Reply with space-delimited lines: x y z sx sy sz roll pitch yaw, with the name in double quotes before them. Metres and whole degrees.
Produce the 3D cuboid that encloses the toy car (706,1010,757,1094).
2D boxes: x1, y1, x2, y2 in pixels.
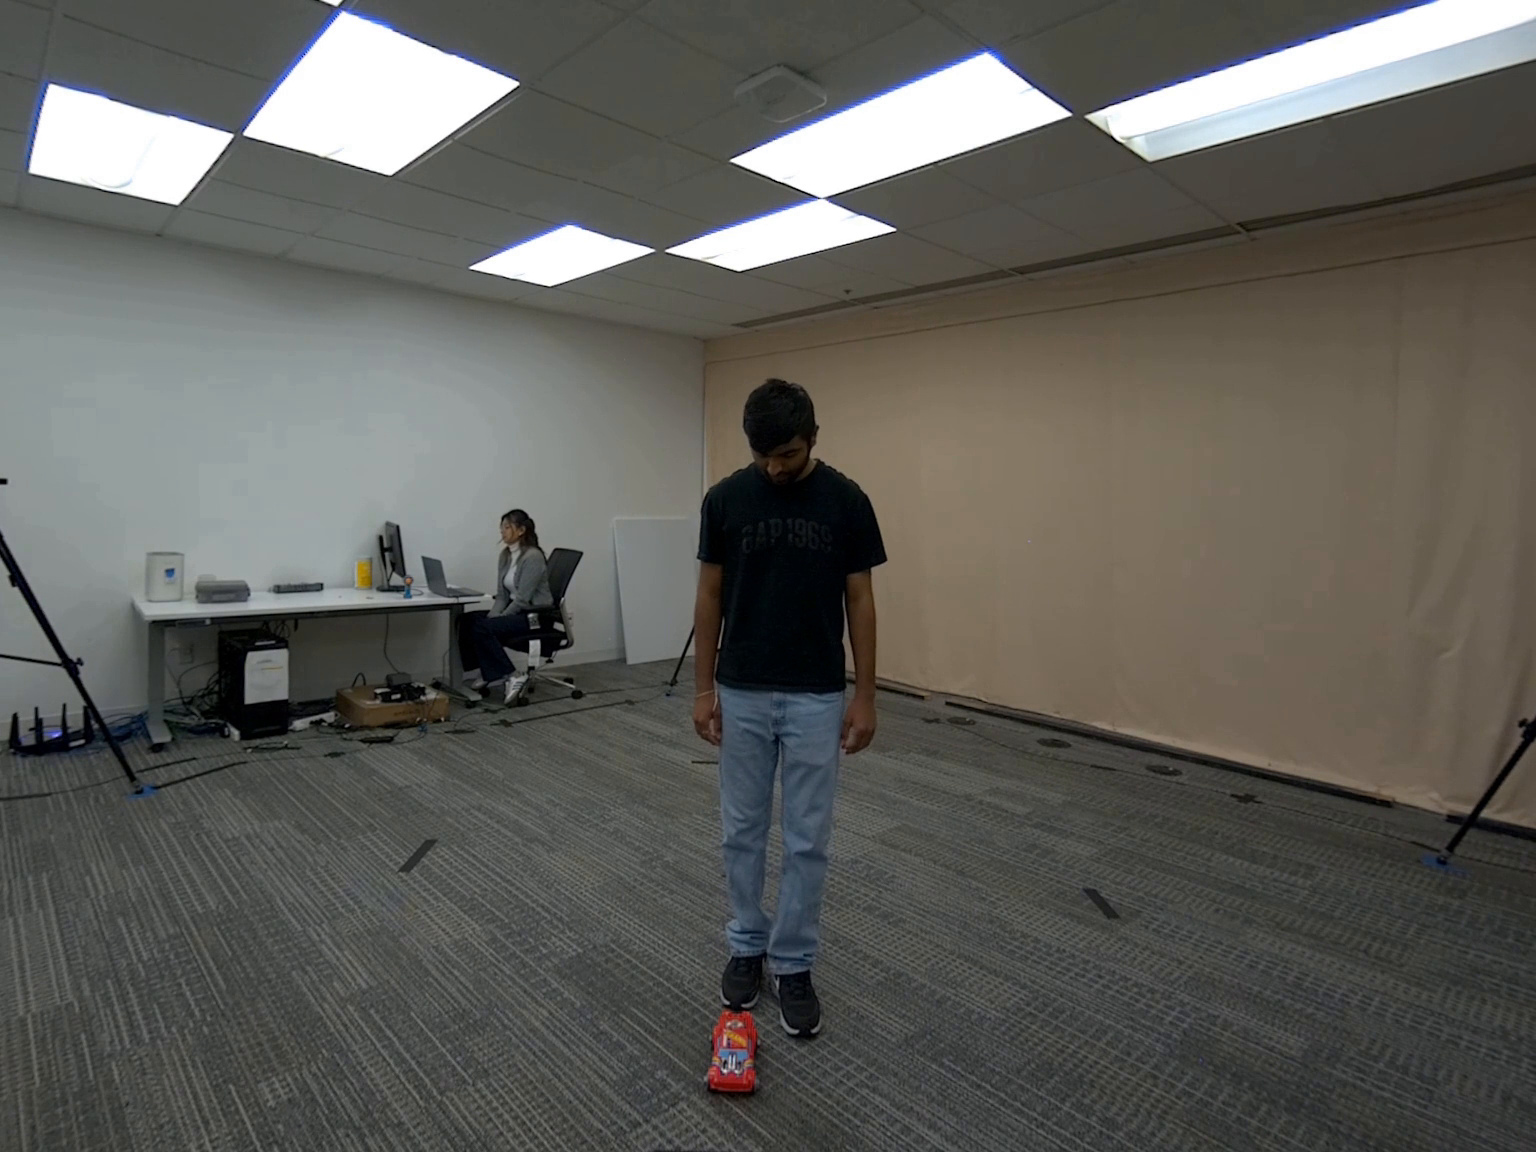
"toy car" -0.097 1.175 2.068 0.131 0.082 0.256 1 17 3
